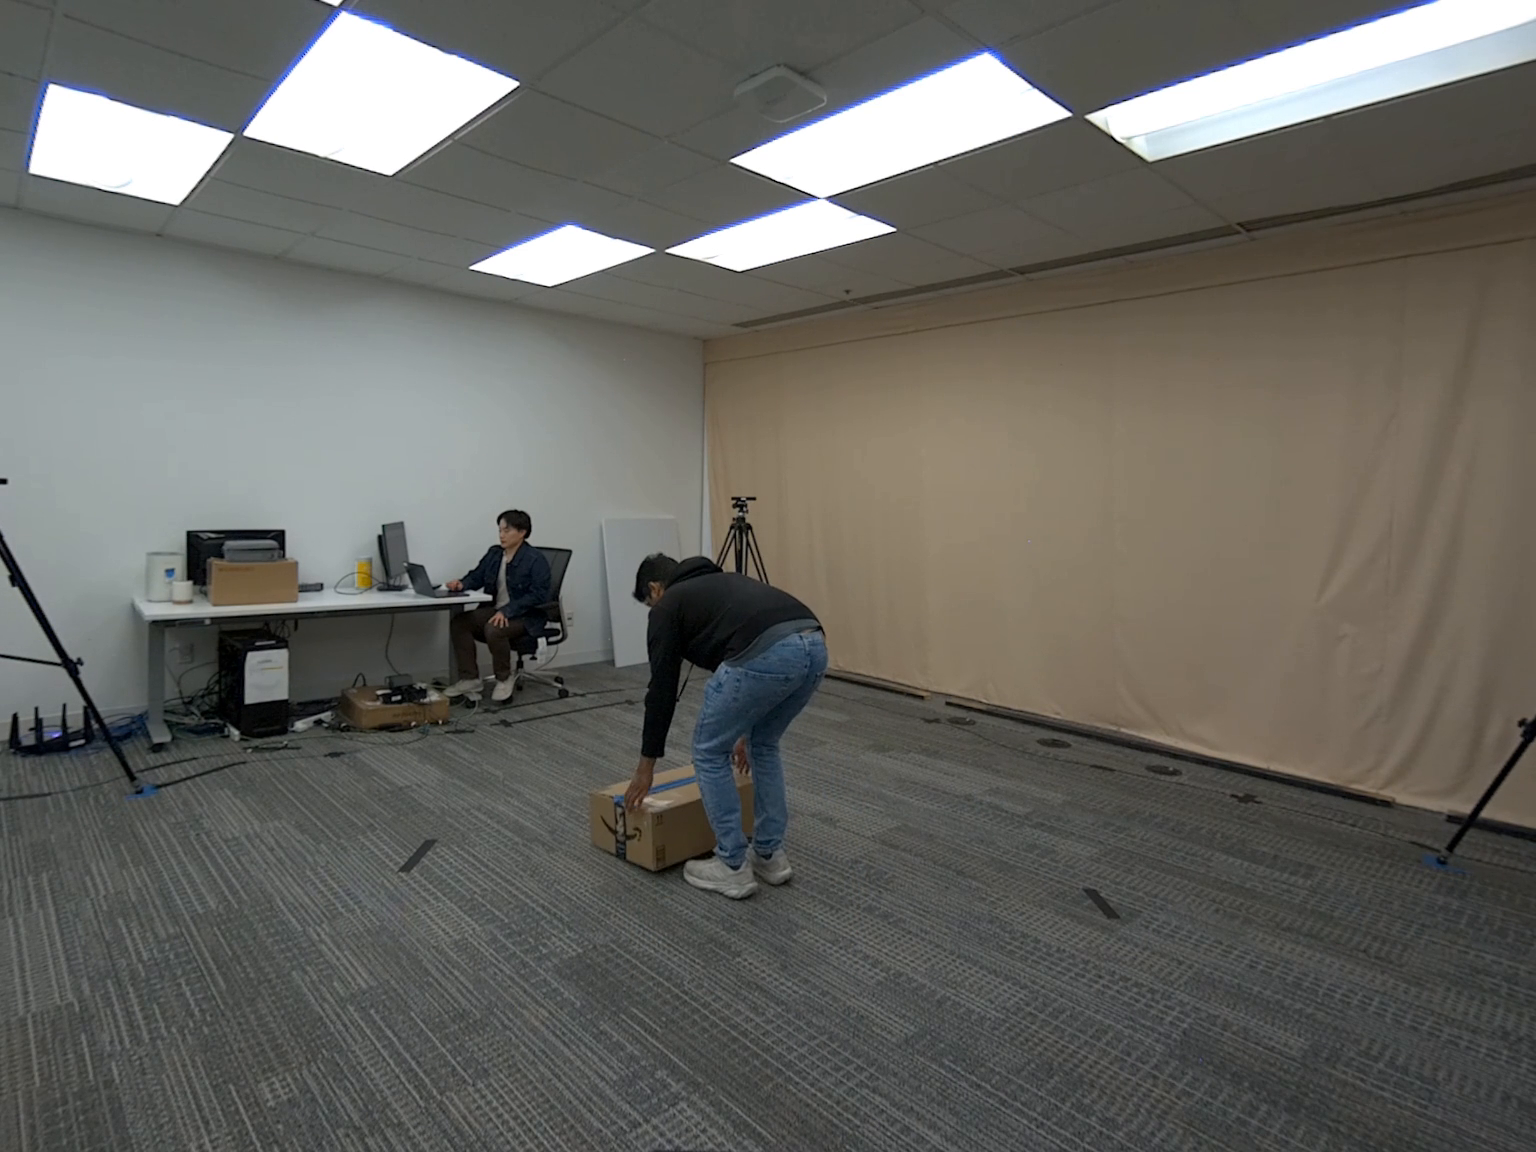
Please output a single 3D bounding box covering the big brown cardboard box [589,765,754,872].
[{"bbox_3d":[-0.370,0.929,3.386,0.575,0.233,0.427,-3,3,-44],"label":"big brown cardboard box"}]
